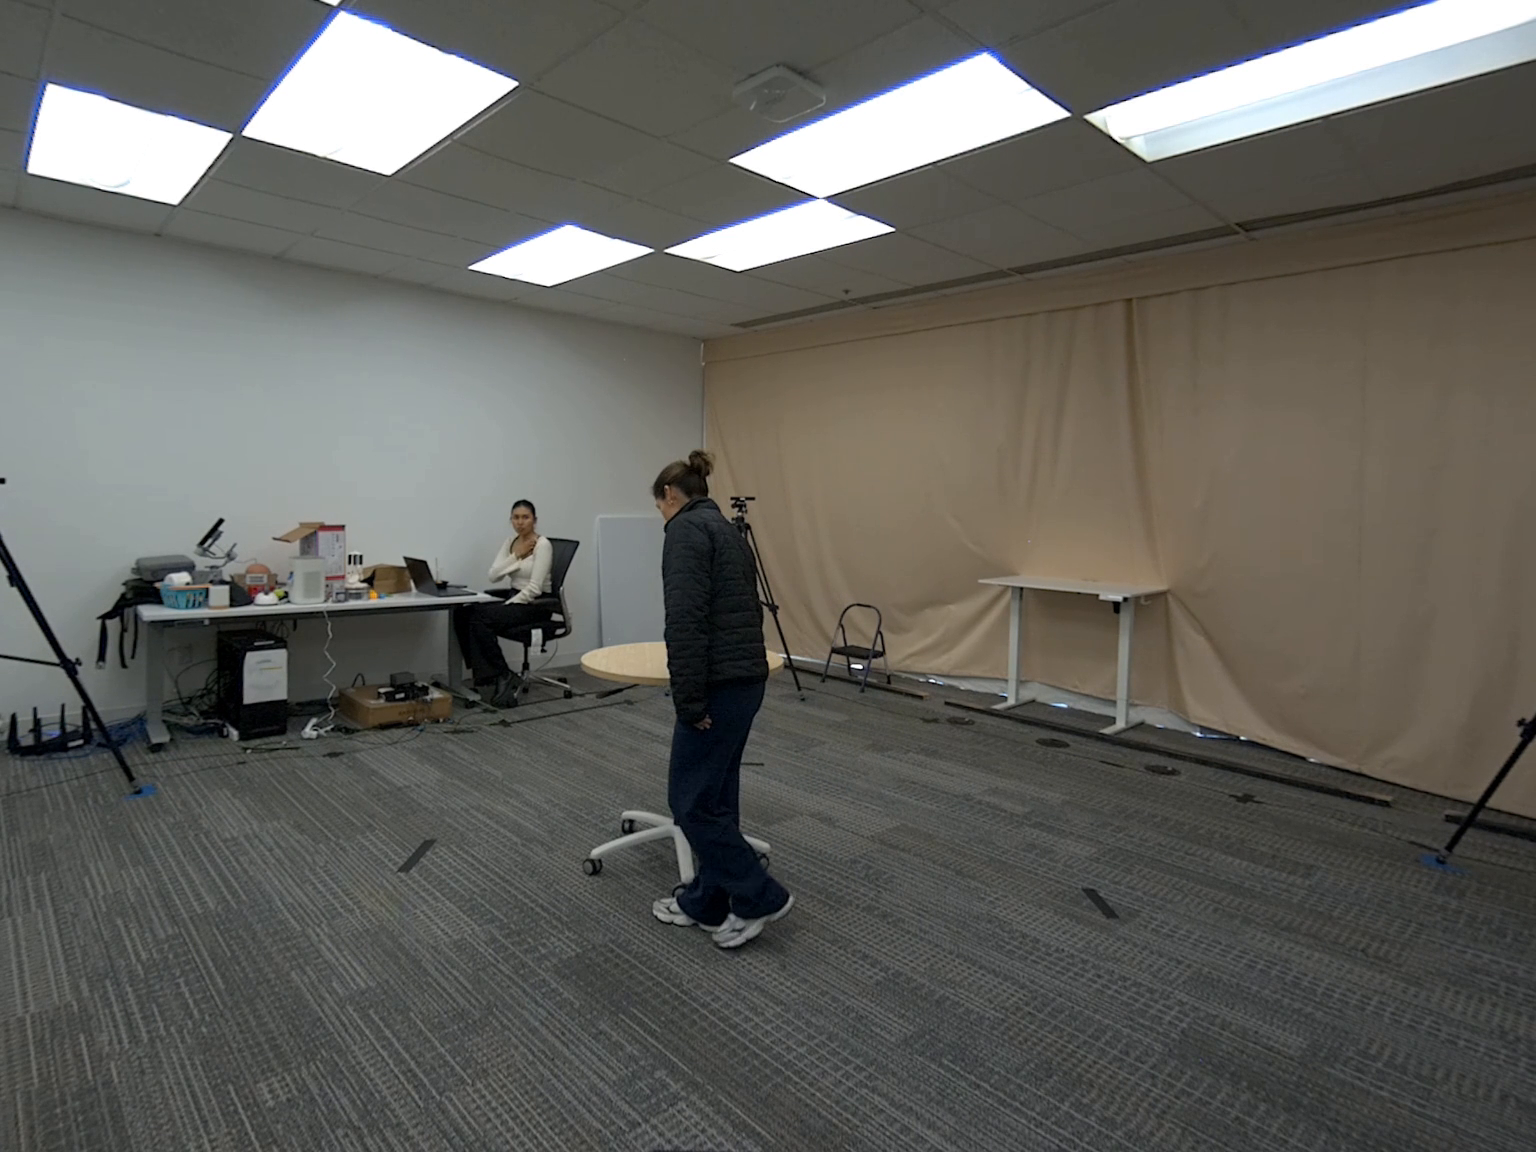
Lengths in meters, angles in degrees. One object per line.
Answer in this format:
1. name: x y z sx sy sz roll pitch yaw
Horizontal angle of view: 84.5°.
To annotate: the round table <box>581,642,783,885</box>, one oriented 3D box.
1. round table: -0.325 0.702 3.213 0.784 0.784 0.788 1 4 -1
